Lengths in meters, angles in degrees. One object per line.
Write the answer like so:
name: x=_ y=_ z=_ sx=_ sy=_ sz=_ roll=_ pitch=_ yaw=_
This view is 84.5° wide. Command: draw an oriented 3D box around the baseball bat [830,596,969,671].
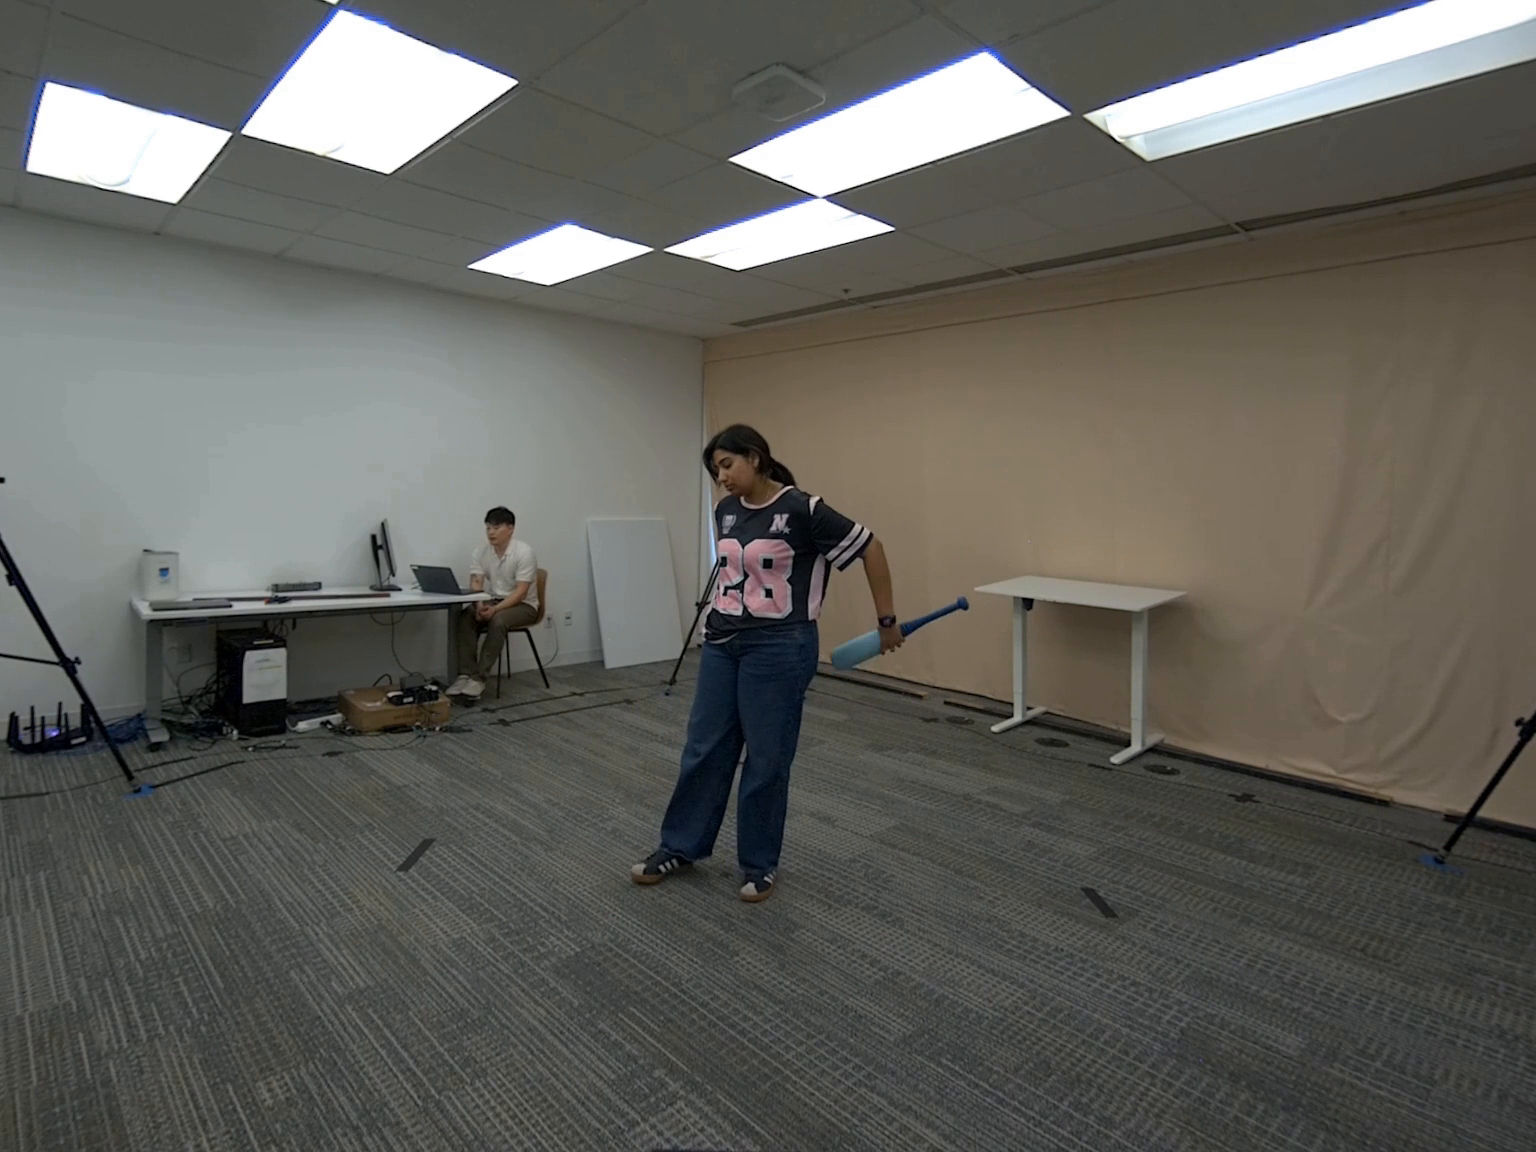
baseball bat: x=0.437 y=0.206 z=2.942 sx=0.548 sy=0.090 sz=0.087 roll=-27 pitch=-10 yaw=27
